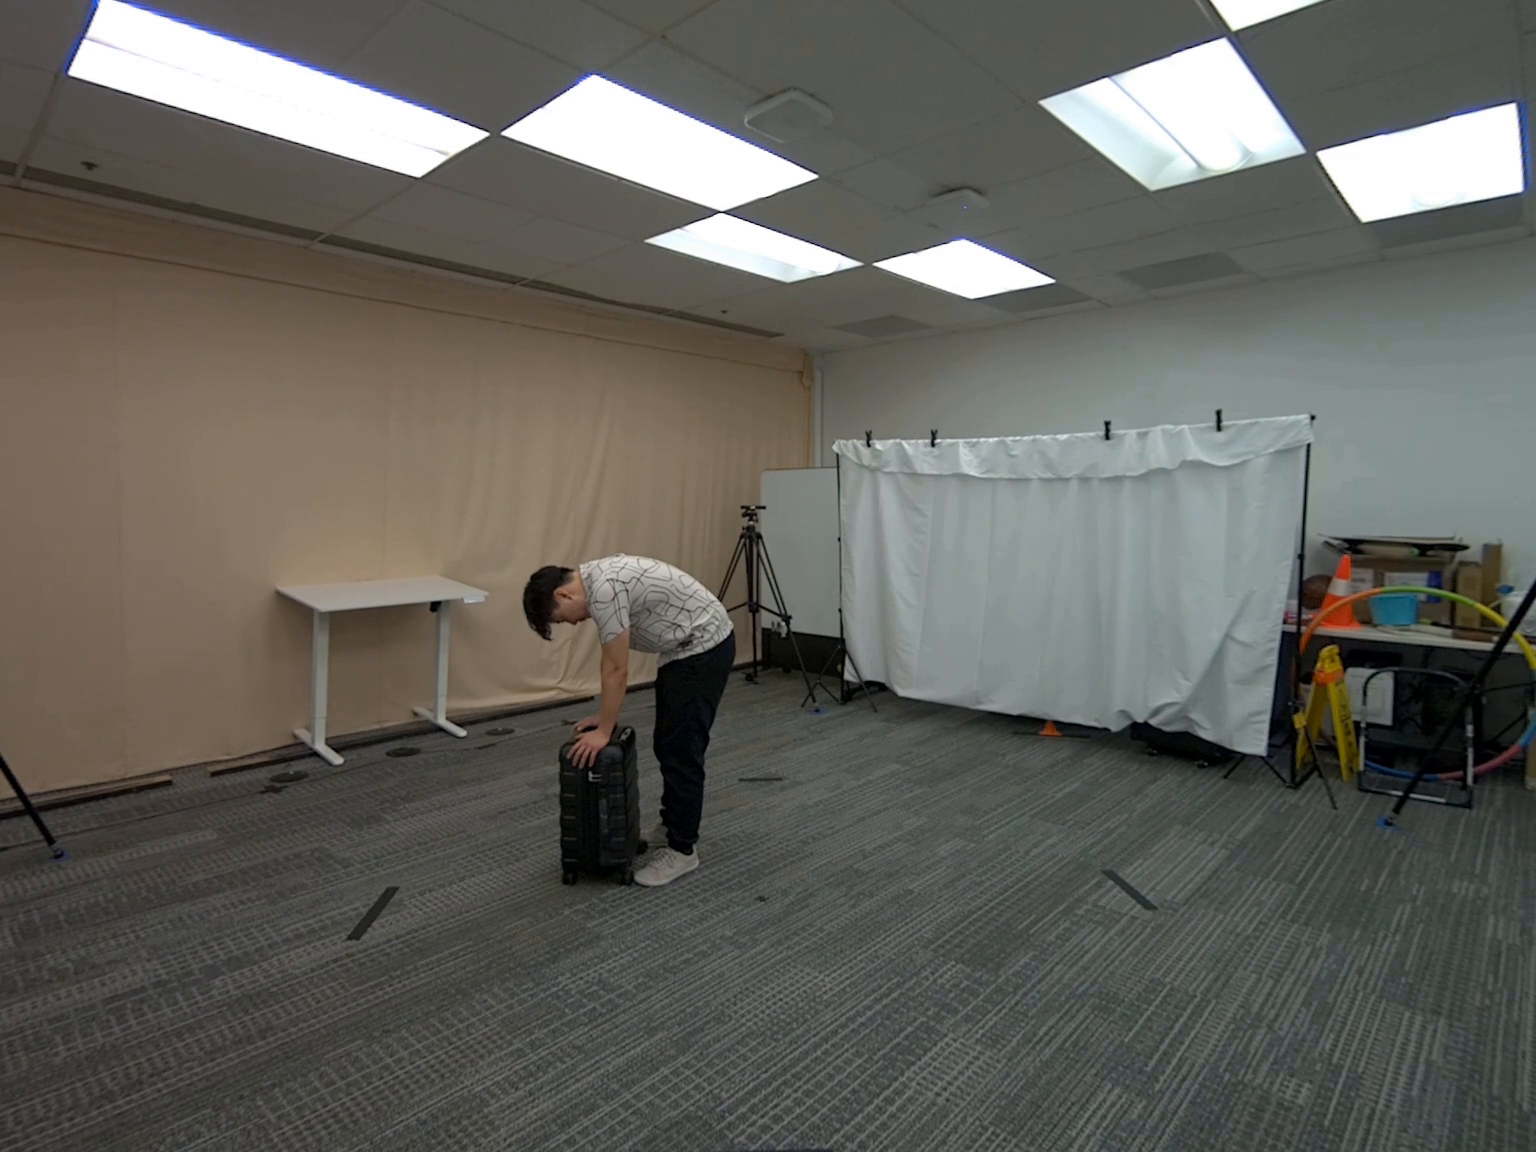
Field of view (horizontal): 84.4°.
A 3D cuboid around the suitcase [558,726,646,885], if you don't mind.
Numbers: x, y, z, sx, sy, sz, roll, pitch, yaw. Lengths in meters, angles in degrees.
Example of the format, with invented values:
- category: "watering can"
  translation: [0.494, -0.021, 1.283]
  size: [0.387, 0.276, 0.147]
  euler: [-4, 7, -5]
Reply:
- category: "suitcase"
  translation: [-0.645, 0.856, 3.223]
  size: [0.249, 0.548, 0.375]
  euler: [-2, 4, 1]
